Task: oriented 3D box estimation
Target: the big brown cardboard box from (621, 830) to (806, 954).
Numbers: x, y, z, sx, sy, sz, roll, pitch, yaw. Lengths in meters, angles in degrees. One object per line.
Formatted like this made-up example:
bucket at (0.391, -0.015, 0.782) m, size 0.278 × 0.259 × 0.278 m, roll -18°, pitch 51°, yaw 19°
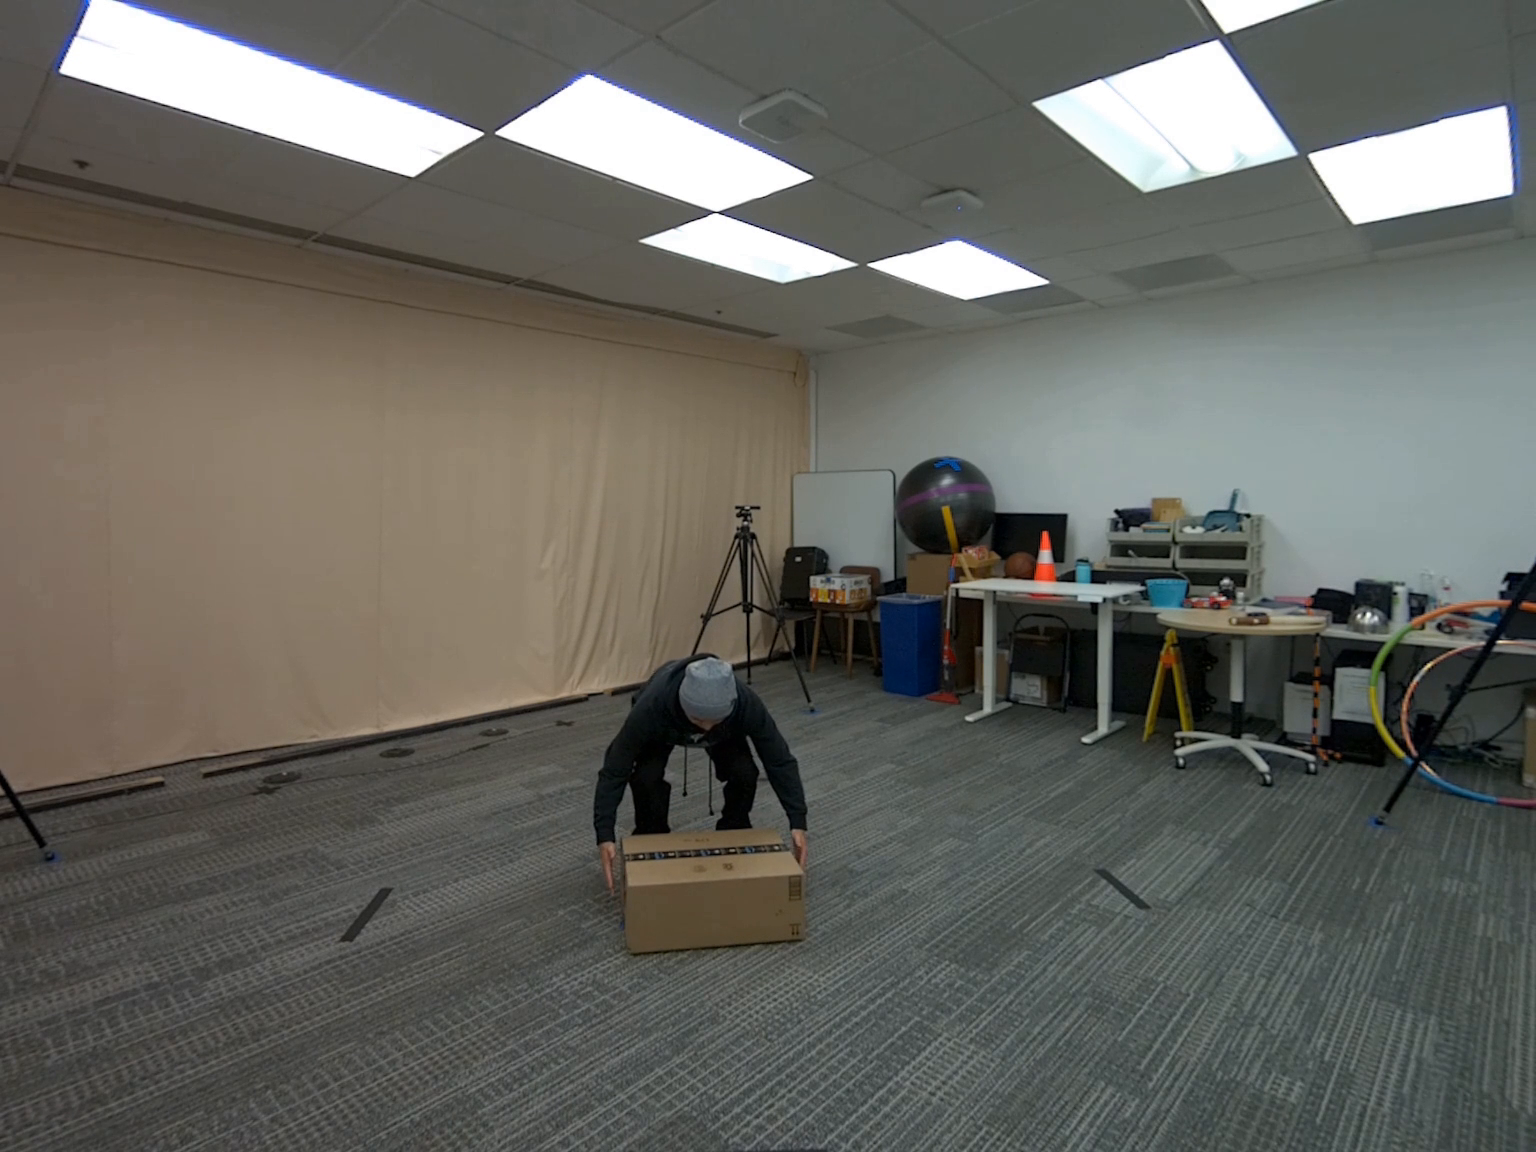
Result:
big brown cardboard box at (-0.198, 1.044, 2.842) m, size 0.583 × 0.233 × 0.423 m, roll -2°, pitch 3°, yaw -10°
